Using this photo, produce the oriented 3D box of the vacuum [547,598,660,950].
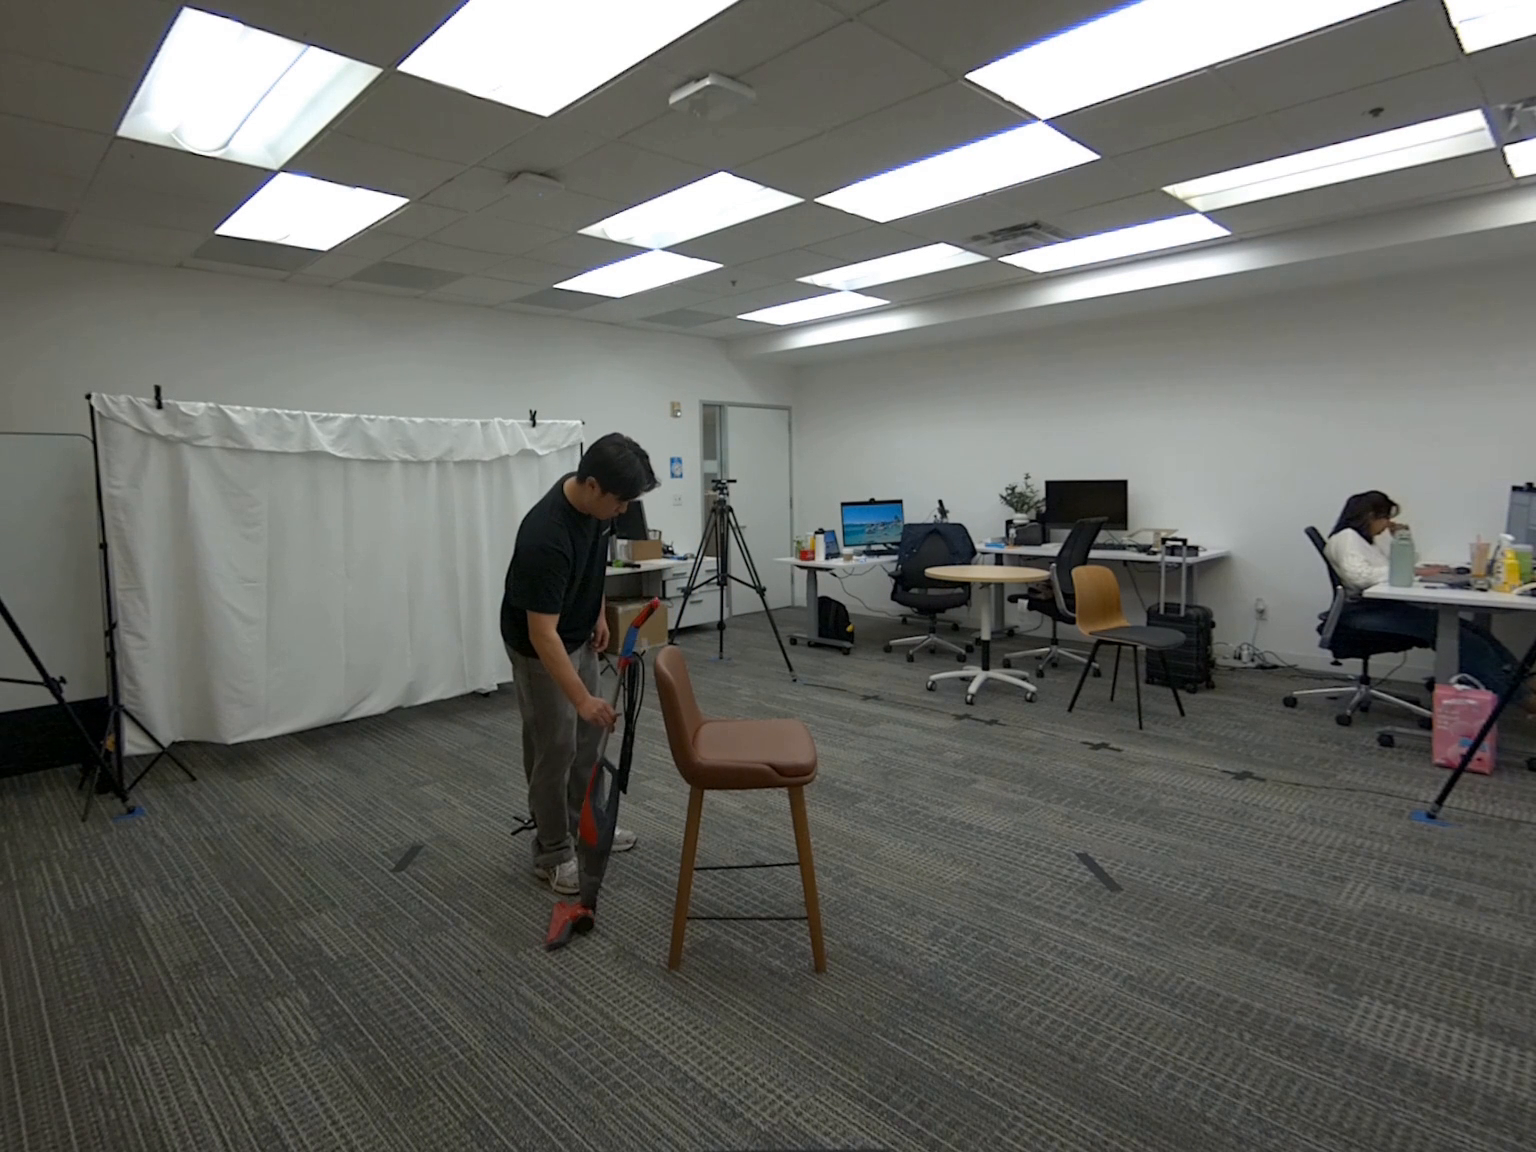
[{"bbox_3d":[-0.486,0.588,2.665,0.140,1.048,0.259,14,1,-23],"label":"vacuum"}]
